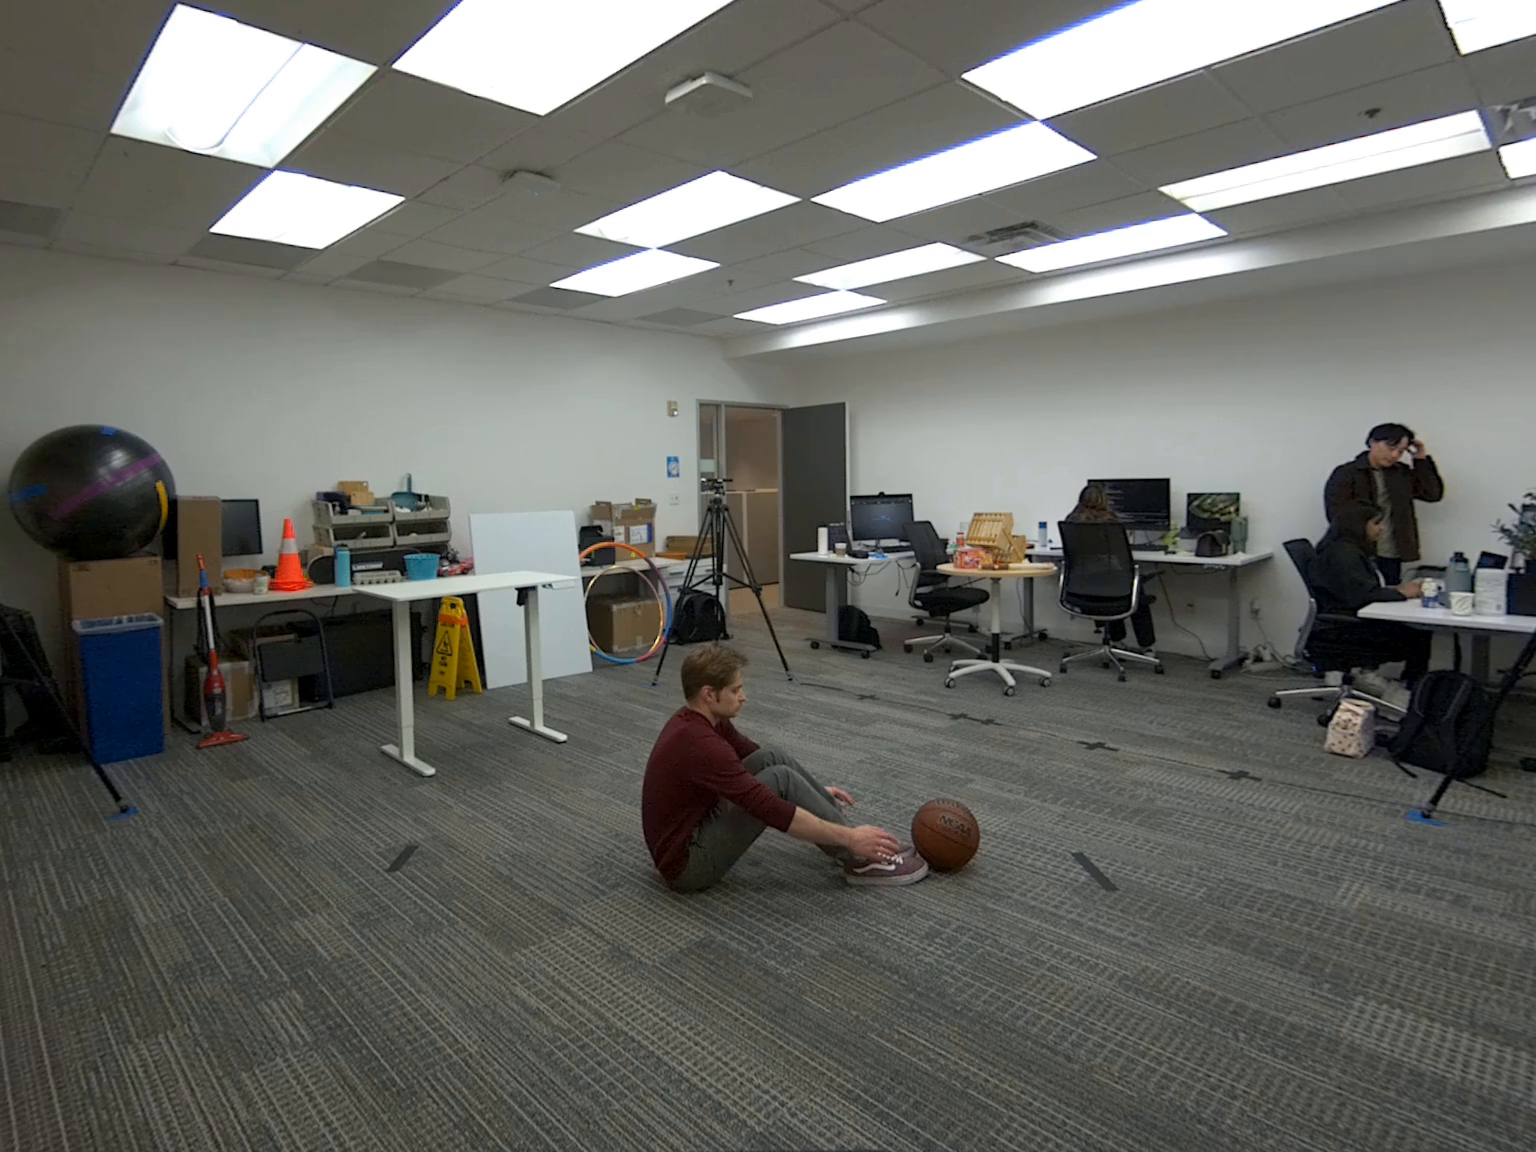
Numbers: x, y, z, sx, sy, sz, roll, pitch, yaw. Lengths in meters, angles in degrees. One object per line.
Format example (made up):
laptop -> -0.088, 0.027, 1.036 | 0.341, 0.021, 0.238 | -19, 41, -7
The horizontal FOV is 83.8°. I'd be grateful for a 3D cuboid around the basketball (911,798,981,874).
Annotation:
basketball -> 0.629, 0.908, 3.056 | 0.236, 0.235, 0.237 | -1, 5, -2
